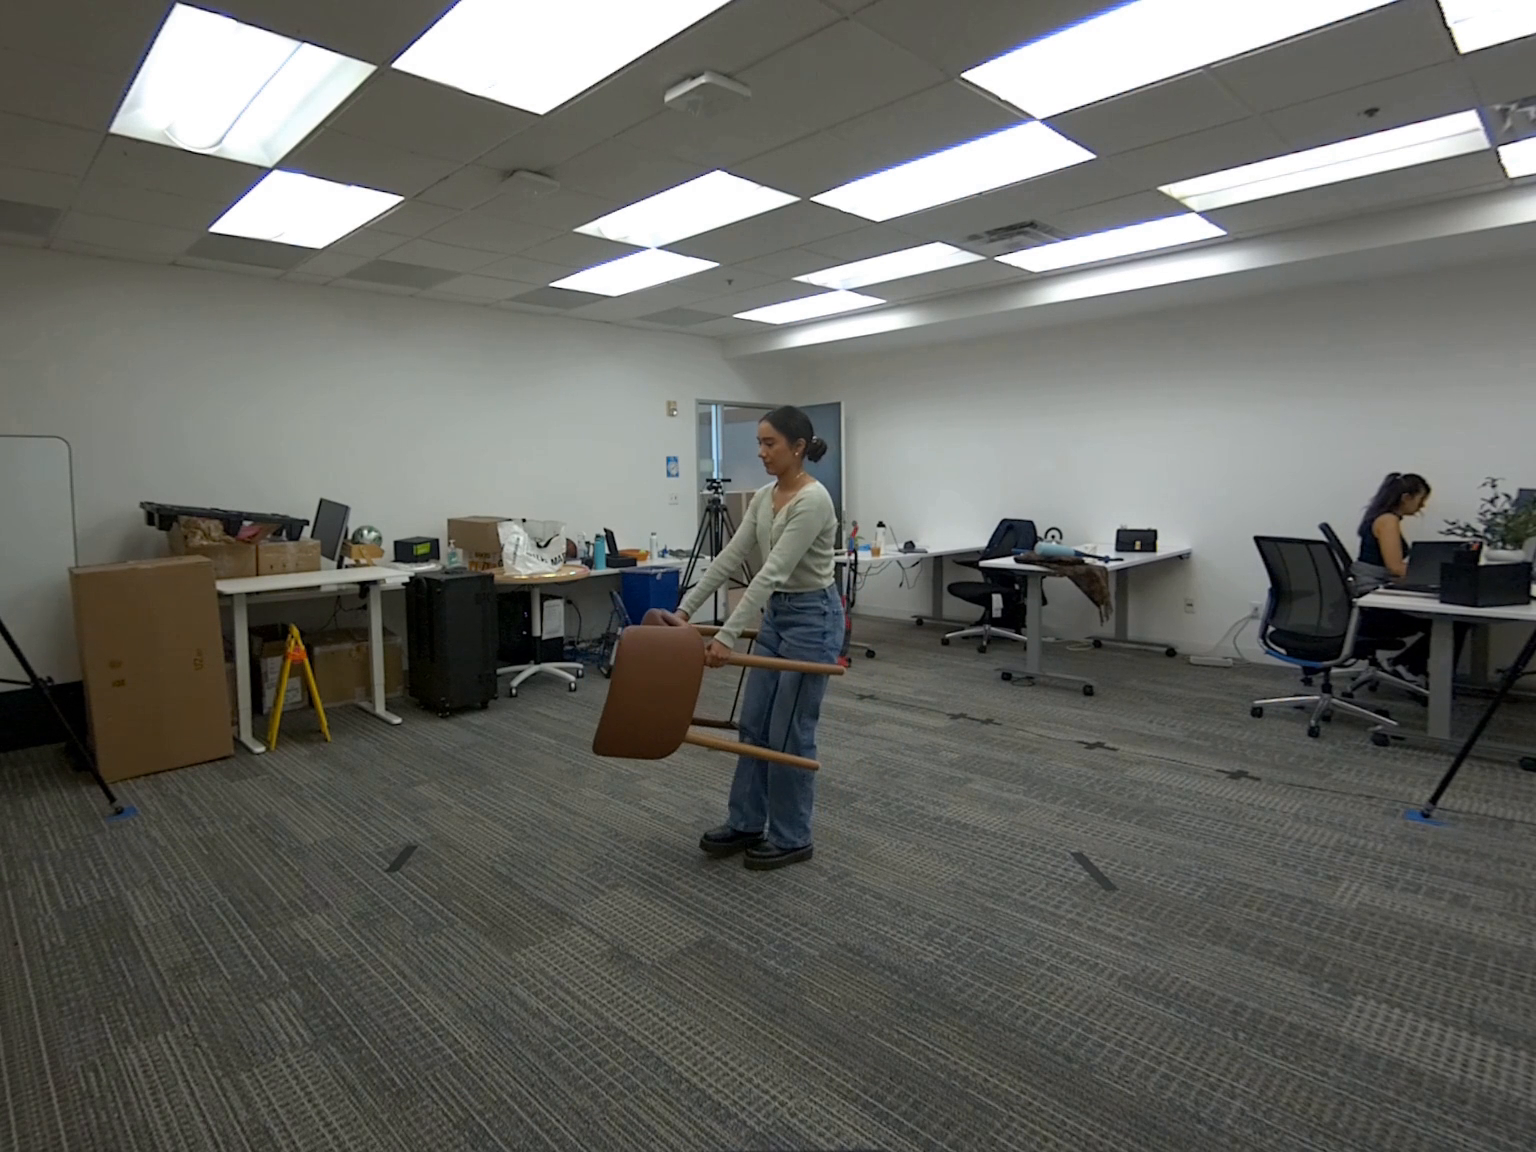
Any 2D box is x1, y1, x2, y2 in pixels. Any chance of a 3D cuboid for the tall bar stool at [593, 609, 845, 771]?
[{"bbox_3d":[-0.238,0.386,2.959,0.862,0.455,0.483,12,4,-34],"label":"tall bar stool"}]
